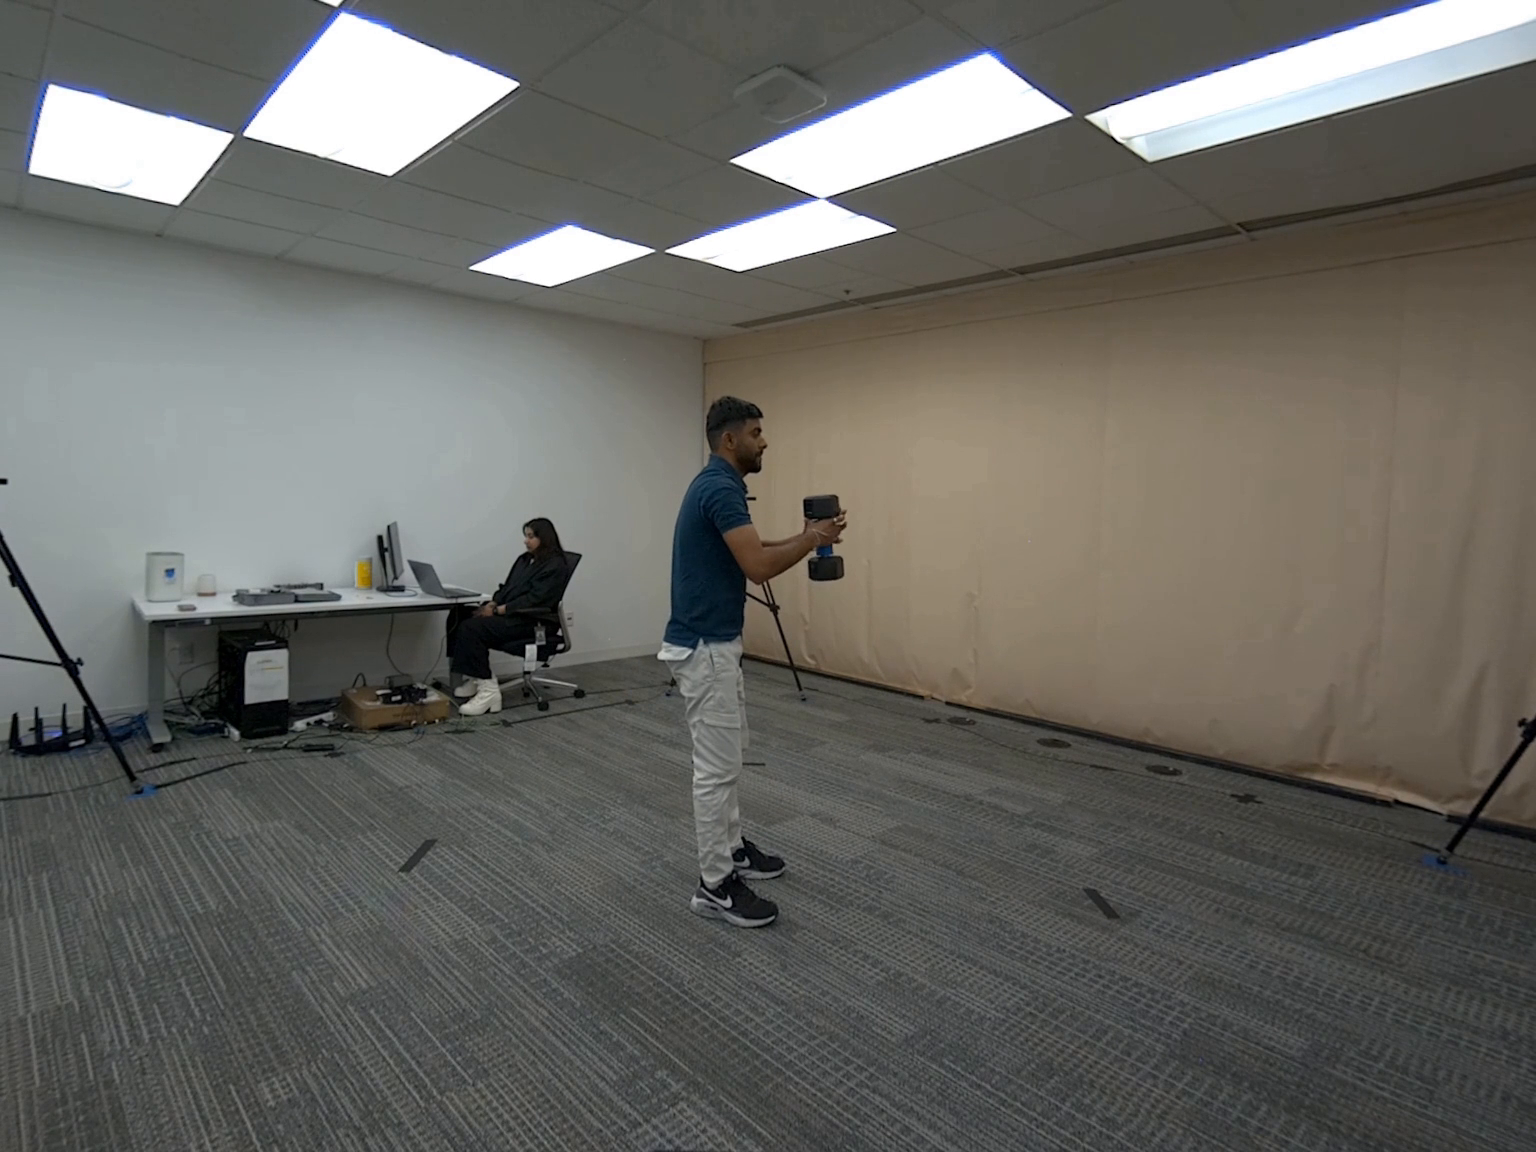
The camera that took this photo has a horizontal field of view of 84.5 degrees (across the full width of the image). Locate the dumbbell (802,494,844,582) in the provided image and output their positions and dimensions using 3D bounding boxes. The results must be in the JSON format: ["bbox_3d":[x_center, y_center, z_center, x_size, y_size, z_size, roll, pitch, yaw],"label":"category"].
[{"bbox_3d":[0.178,-0.132,2.889,0.123,0.293,0.109,-4,3,0],"label":"dumbbell"}]
